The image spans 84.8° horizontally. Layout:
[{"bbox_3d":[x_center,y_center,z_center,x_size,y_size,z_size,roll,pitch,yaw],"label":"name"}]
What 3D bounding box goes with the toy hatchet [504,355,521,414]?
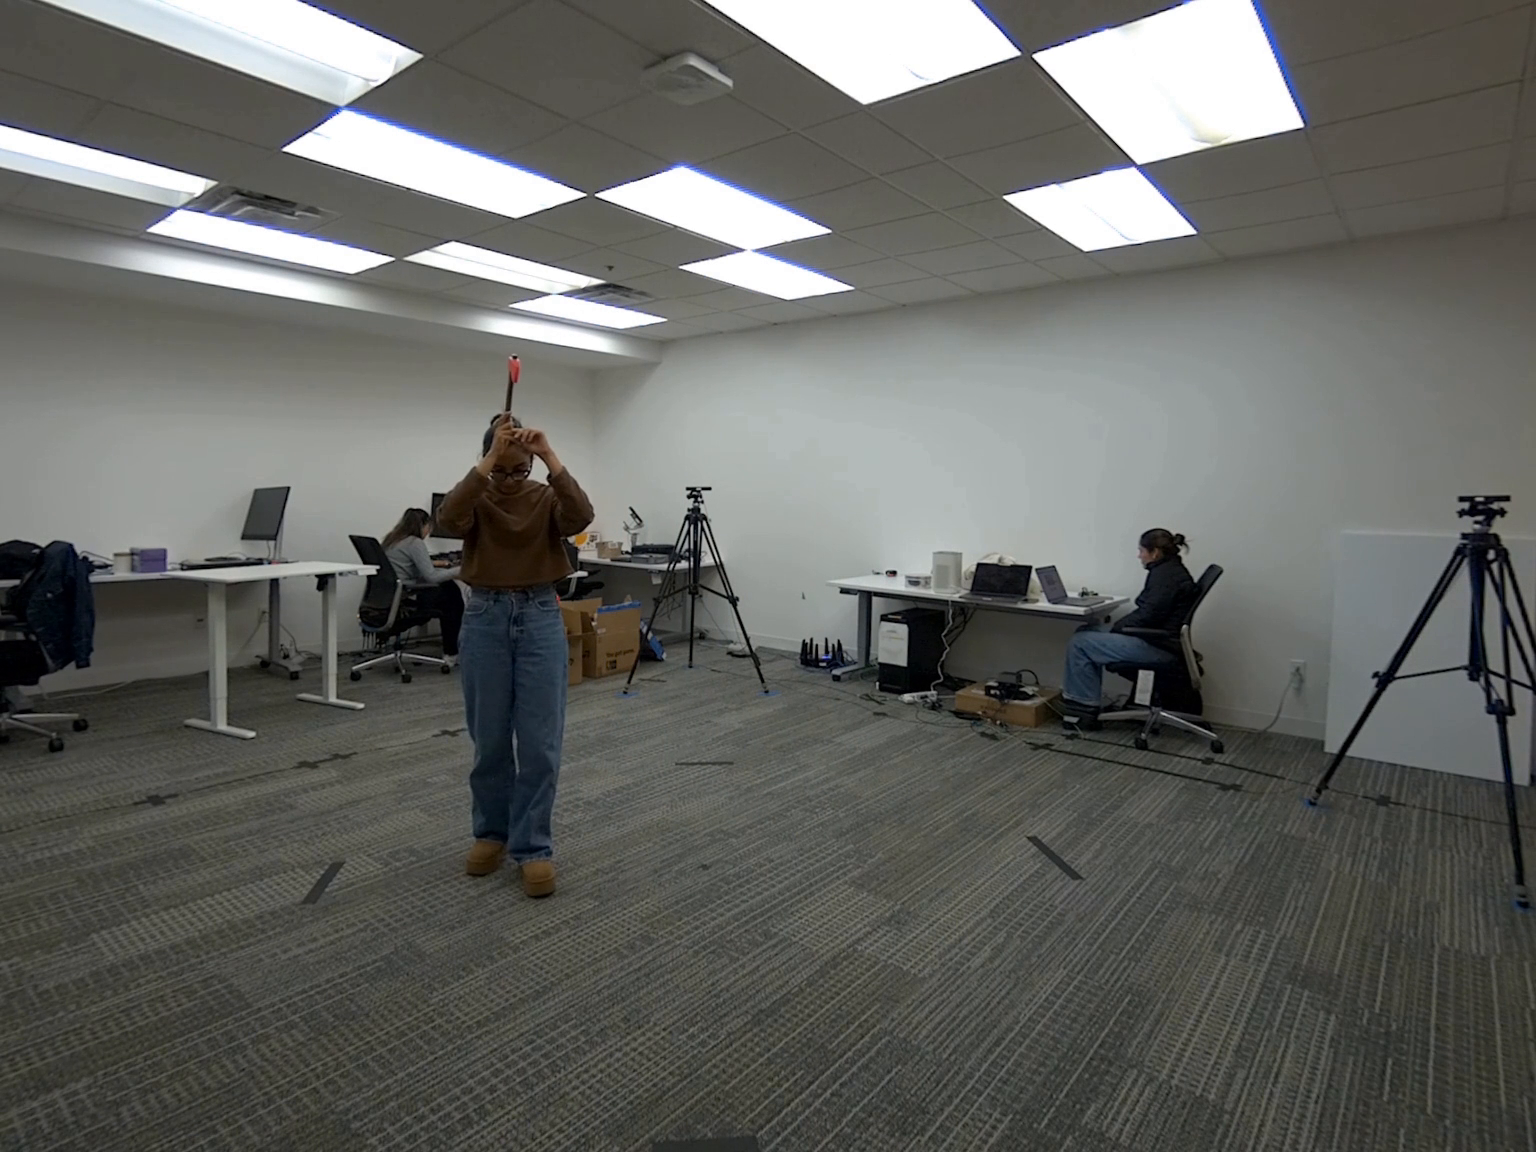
[{"bbox_3d":[-0.843,-0.586,2.755,0.029,0.269,0.135,2,2,-31],"label":"toy hatchet"}]
